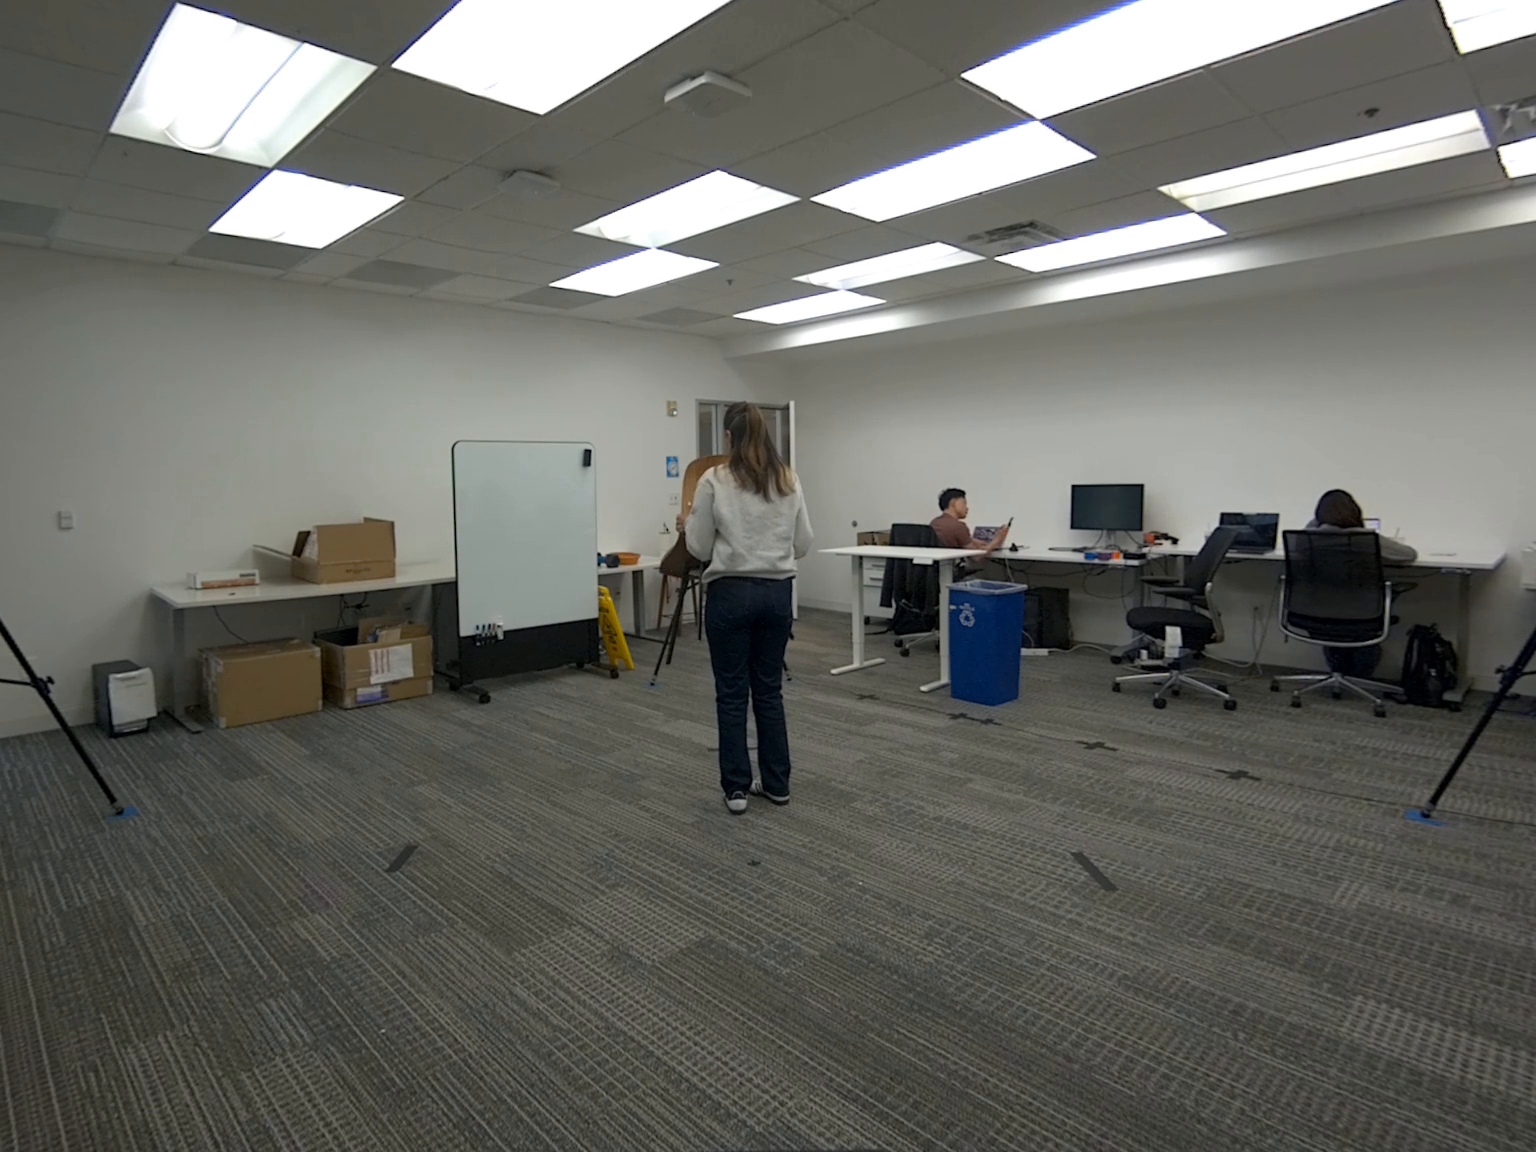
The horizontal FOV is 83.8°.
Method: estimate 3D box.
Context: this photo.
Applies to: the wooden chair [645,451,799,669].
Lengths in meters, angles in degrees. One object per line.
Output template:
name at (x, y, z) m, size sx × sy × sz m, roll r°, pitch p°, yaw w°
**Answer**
wooden chair at (-0.237, -0.058, 3.960) m, size 0.468 × 0.891 × 0.526 m, roll 1°, pitch -16°, yaw -23°
